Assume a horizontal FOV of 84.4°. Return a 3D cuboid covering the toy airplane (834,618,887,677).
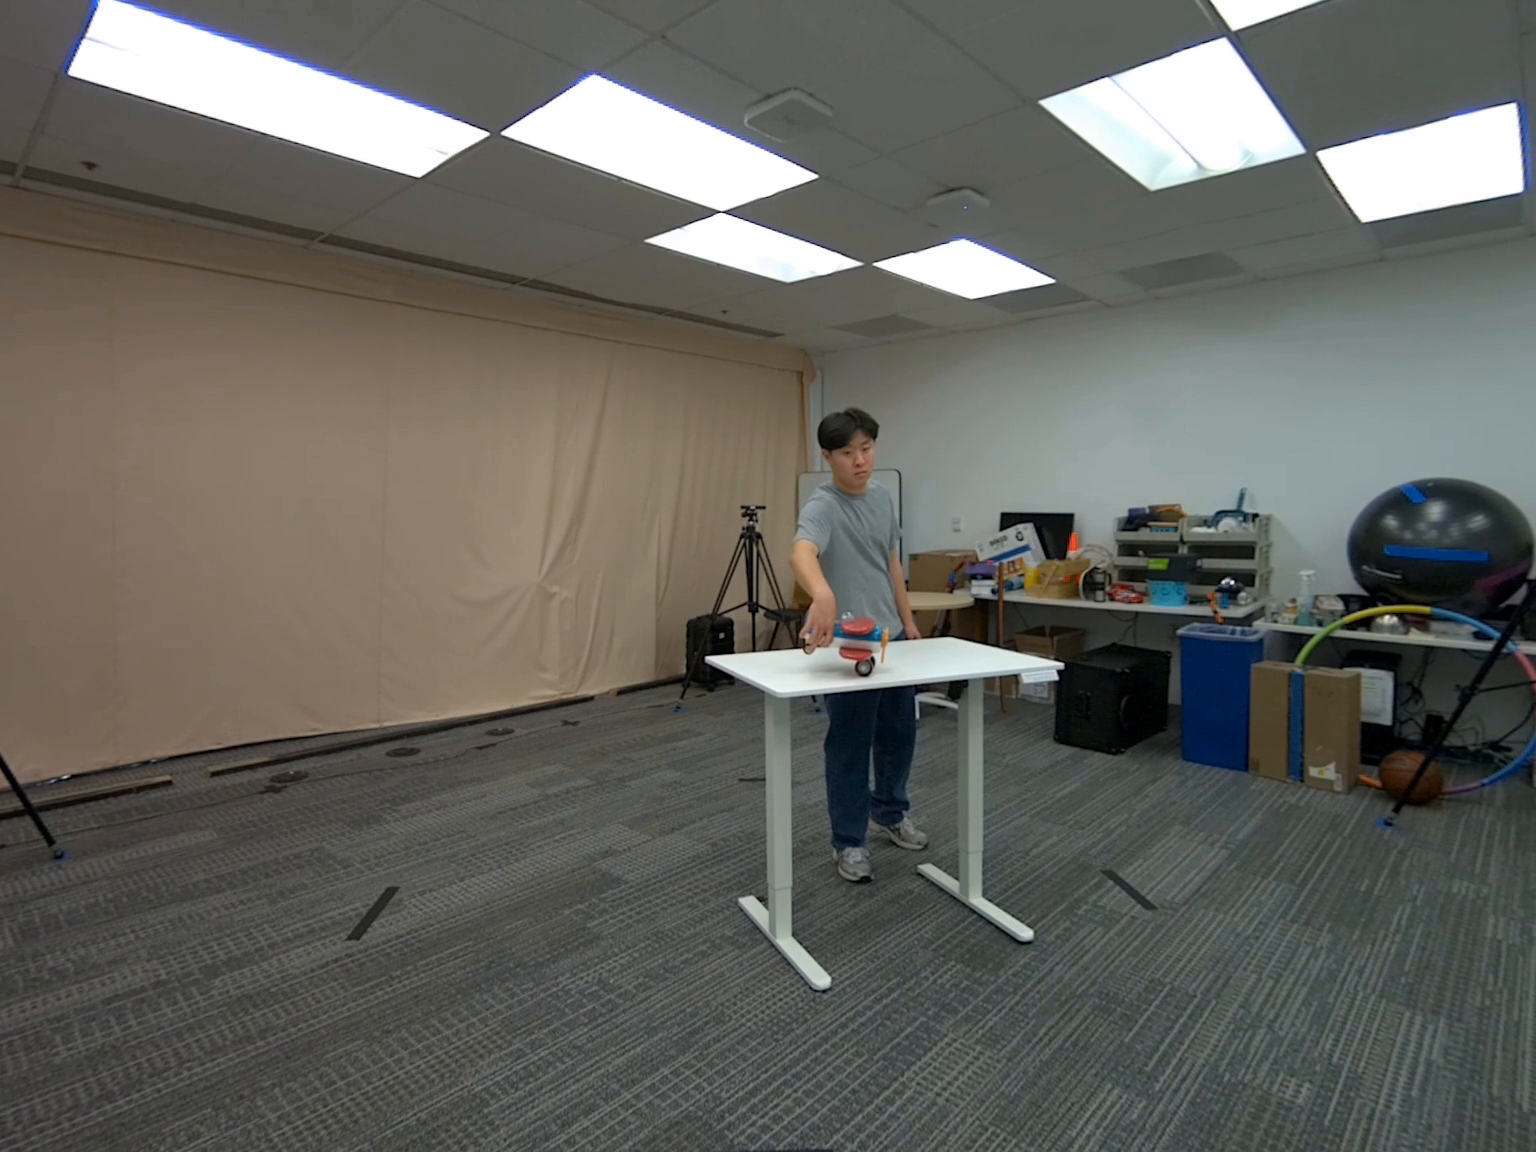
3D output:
[{"bbox_3d":[0.234,0.200,2.551,0.254,0.156,0.256,16,7,-16],"label":"toy airplane"}]
